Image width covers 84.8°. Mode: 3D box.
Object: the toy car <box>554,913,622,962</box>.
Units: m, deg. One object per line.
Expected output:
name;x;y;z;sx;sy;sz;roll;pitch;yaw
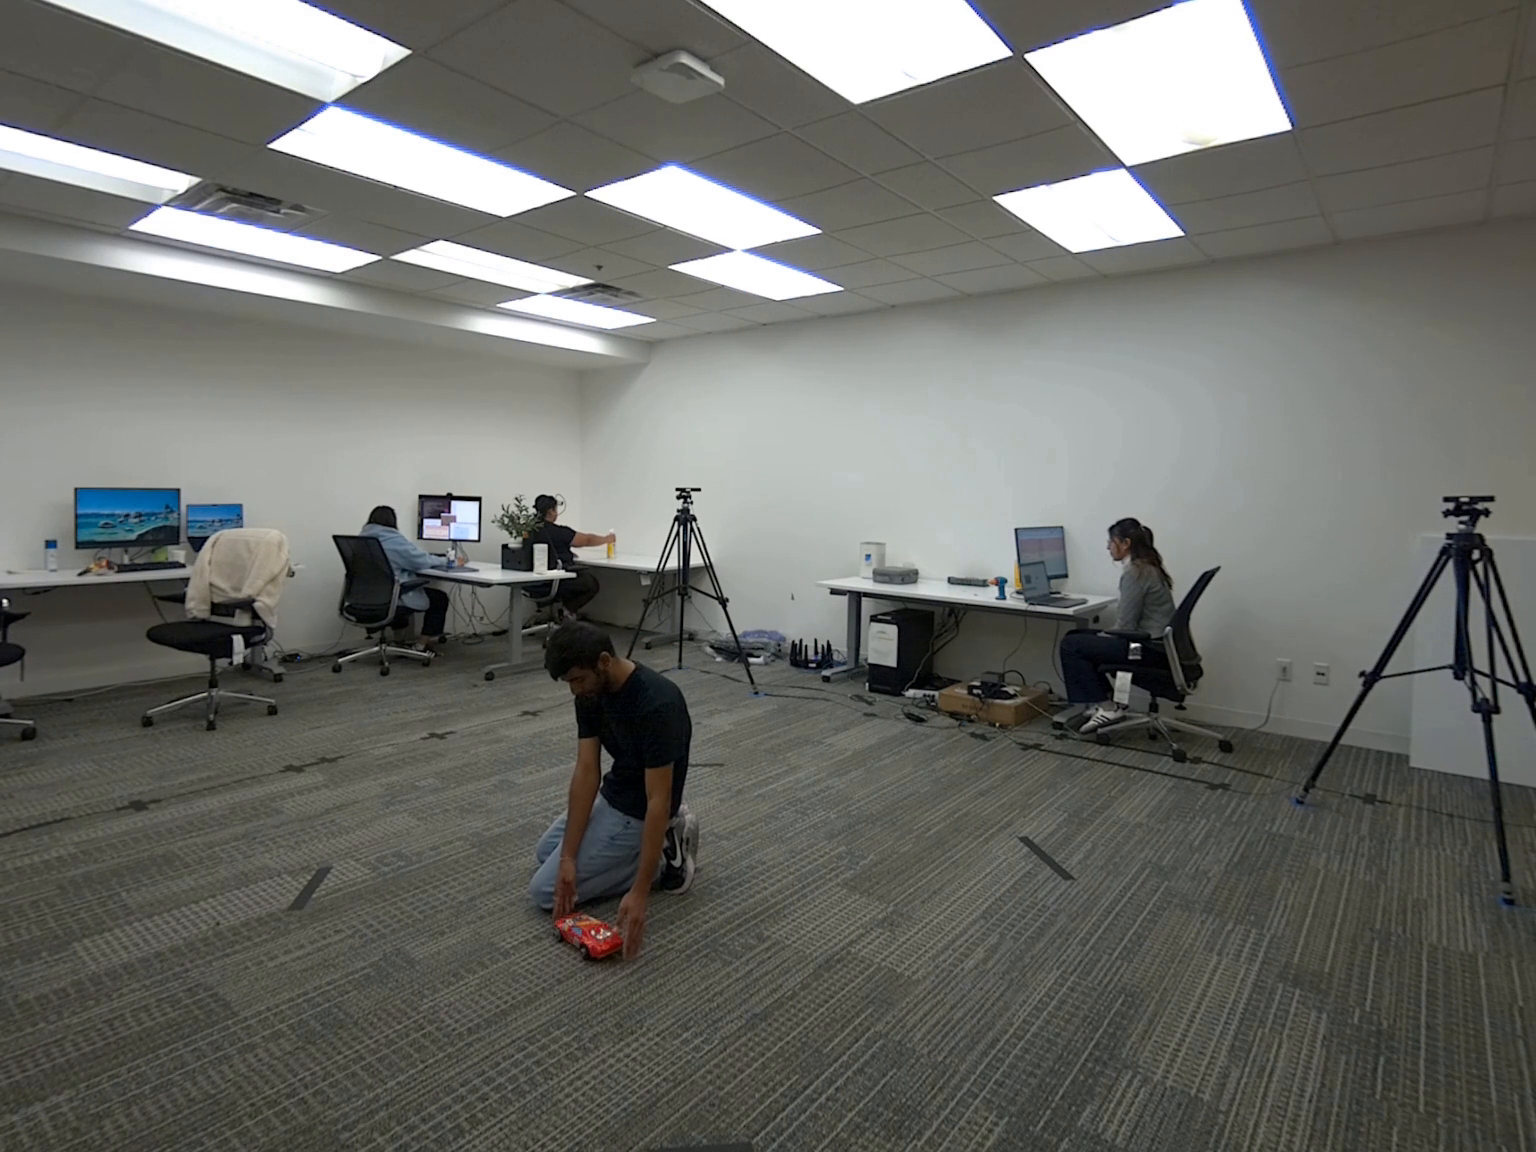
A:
toy car;-0.554;1.084;2.562;0.126;0.083;0.261;-4;-3;-44
